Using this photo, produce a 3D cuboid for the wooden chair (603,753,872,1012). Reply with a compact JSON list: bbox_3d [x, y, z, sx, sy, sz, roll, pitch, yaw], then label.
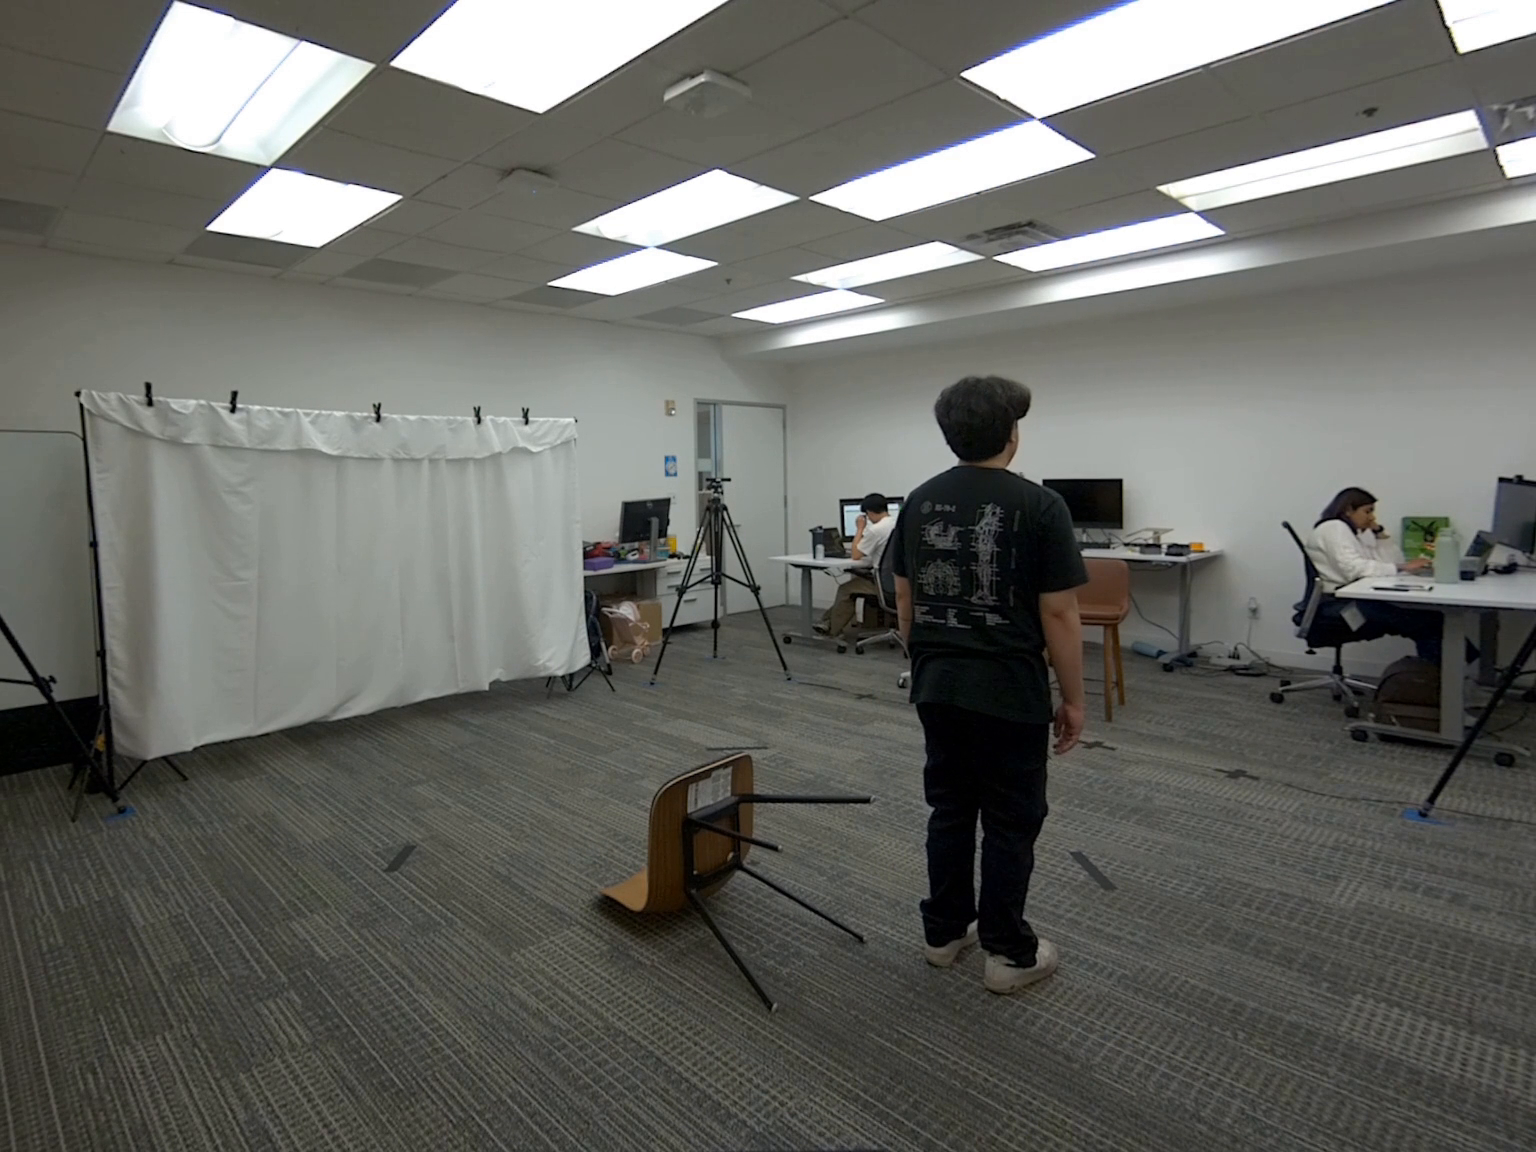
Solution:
[{"bbox_3d":[-0.164,0.838,2.664,0.904,0.521,0.466,3,6,41],"label":"wooden chair"}]
